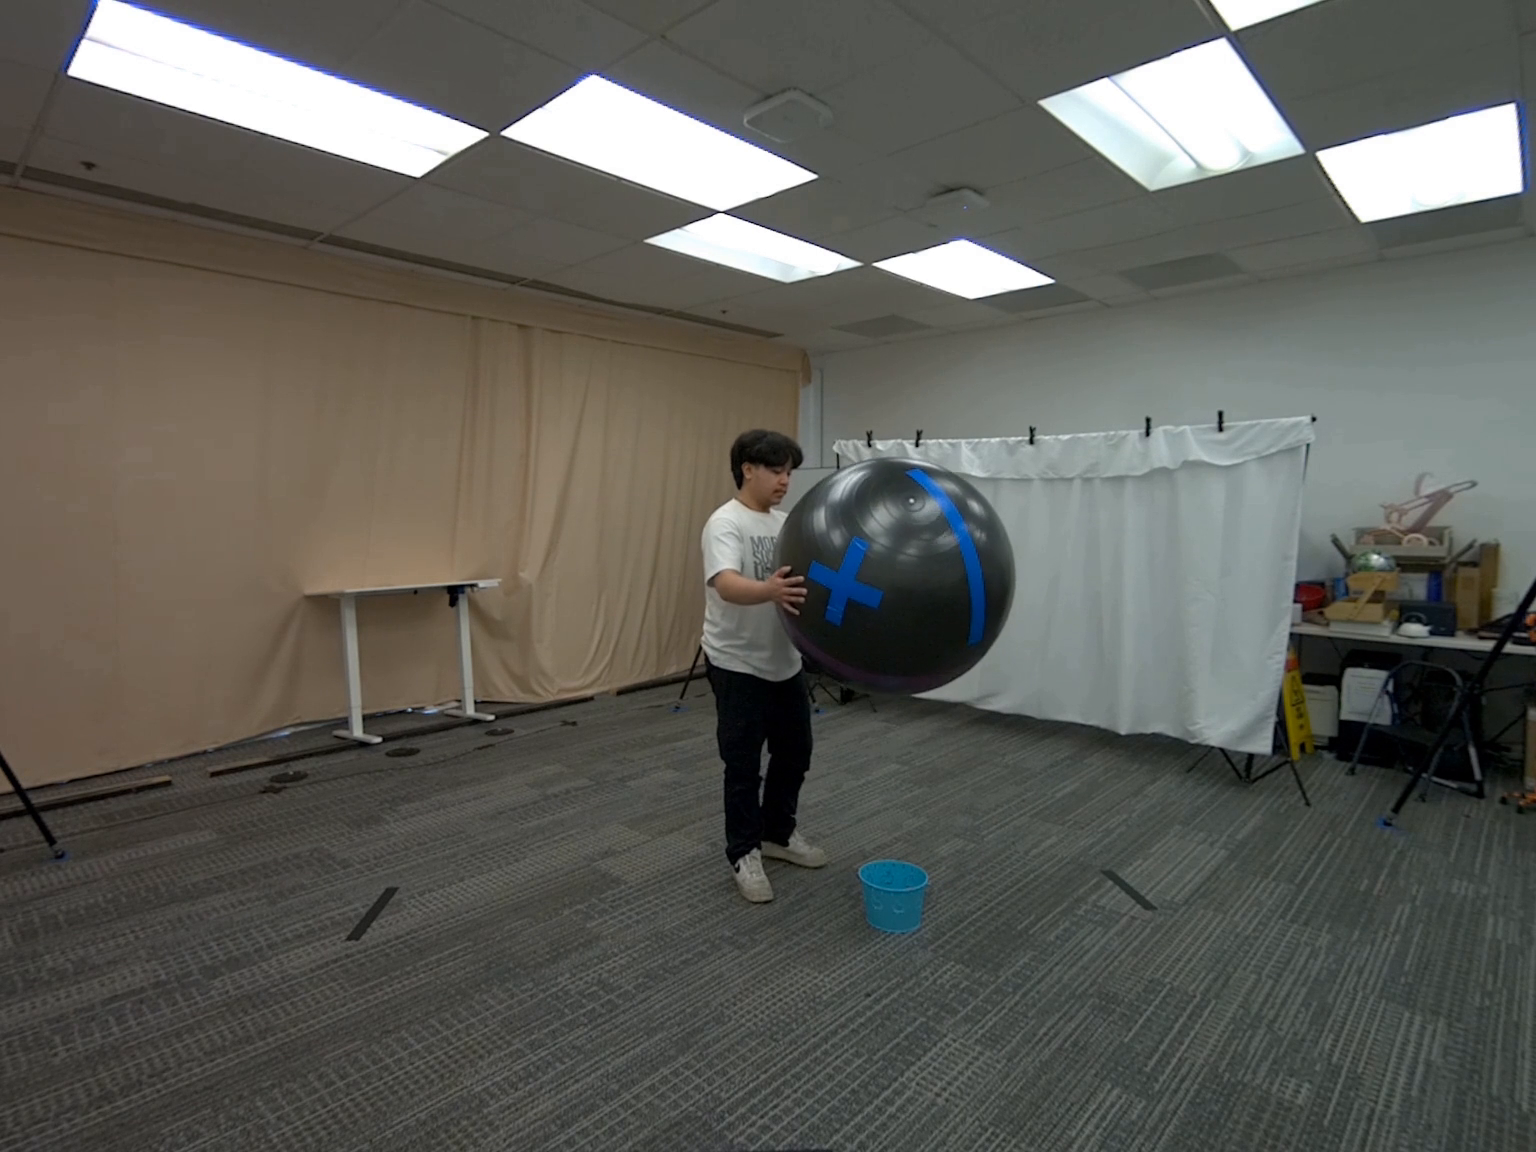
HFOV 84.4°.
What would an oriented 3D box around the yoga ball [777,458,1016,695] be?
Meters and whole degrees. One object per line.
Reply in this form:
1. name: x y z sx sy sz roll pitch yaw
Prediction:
1. yoga ball: 0.403 0.005 2.698 0.757 0.756 0.760 0 4 -2
